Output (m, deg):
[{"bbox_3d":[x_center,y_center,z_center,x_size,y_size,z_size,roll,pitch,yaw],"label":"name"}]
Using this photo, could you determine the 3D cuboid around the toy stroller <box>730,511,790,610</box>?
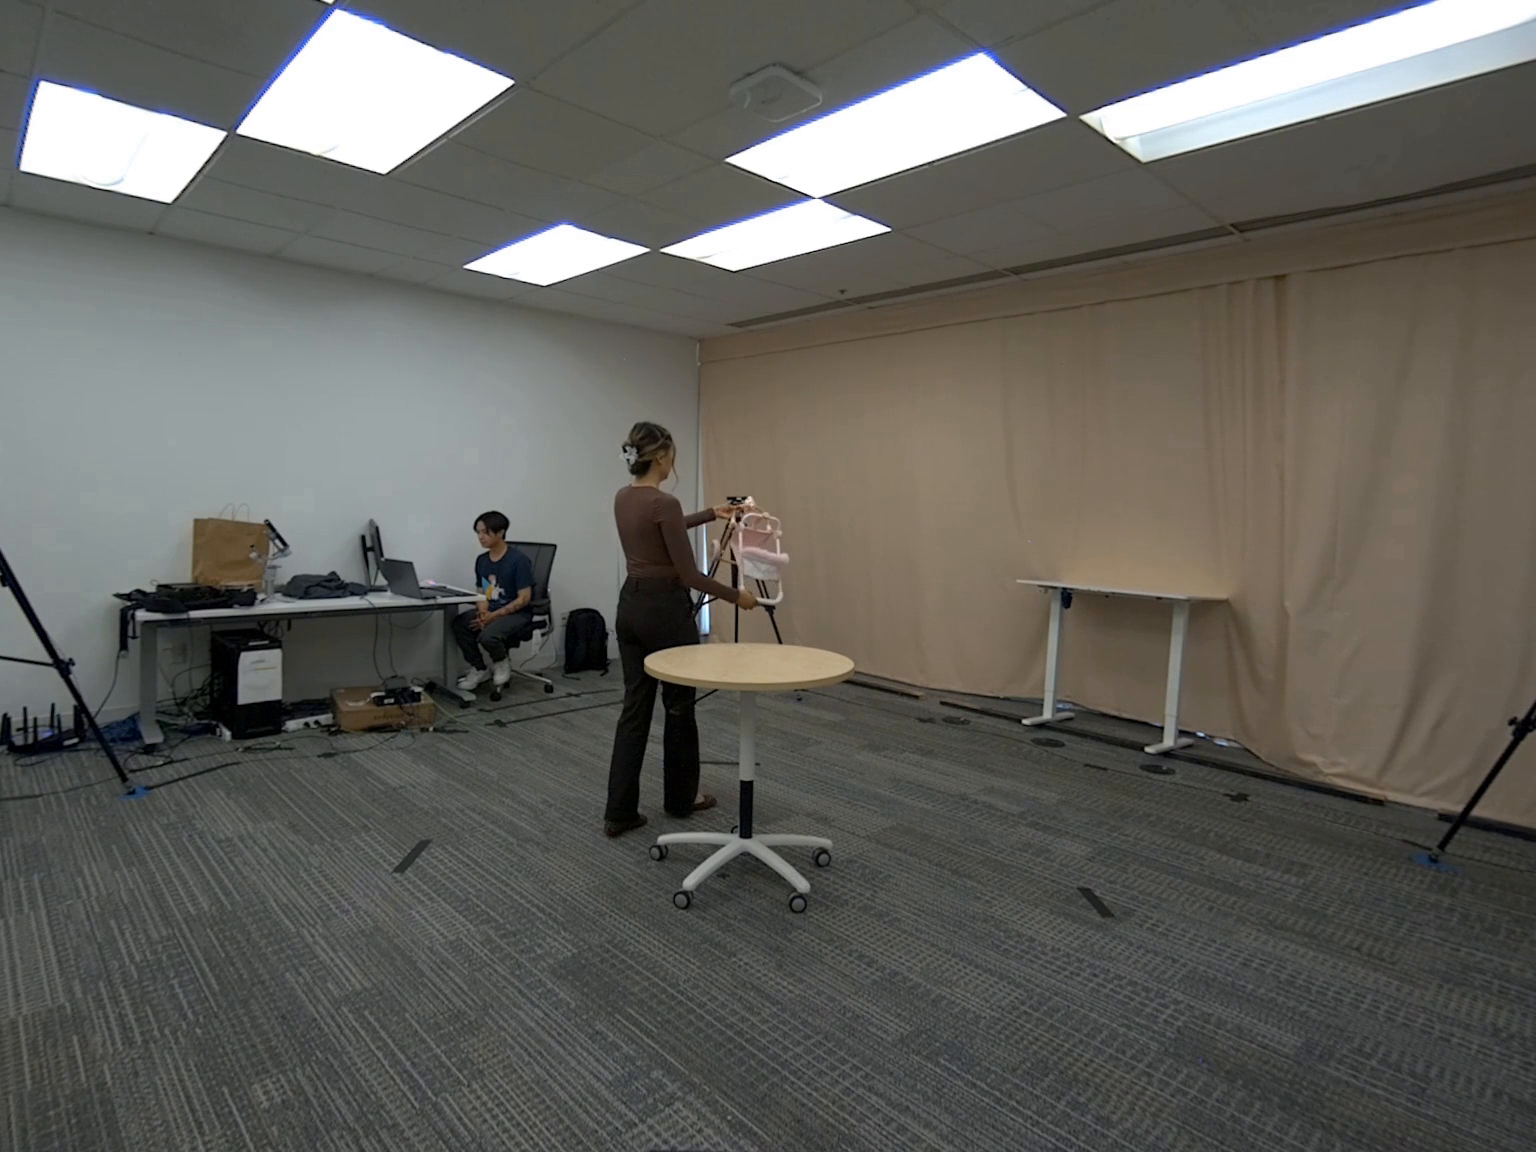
[{"bbox_3d":[-0.068,-0.132,3.862,0.276,0.339,0.549,15,18,-24],"label":"toy stroller"}]
